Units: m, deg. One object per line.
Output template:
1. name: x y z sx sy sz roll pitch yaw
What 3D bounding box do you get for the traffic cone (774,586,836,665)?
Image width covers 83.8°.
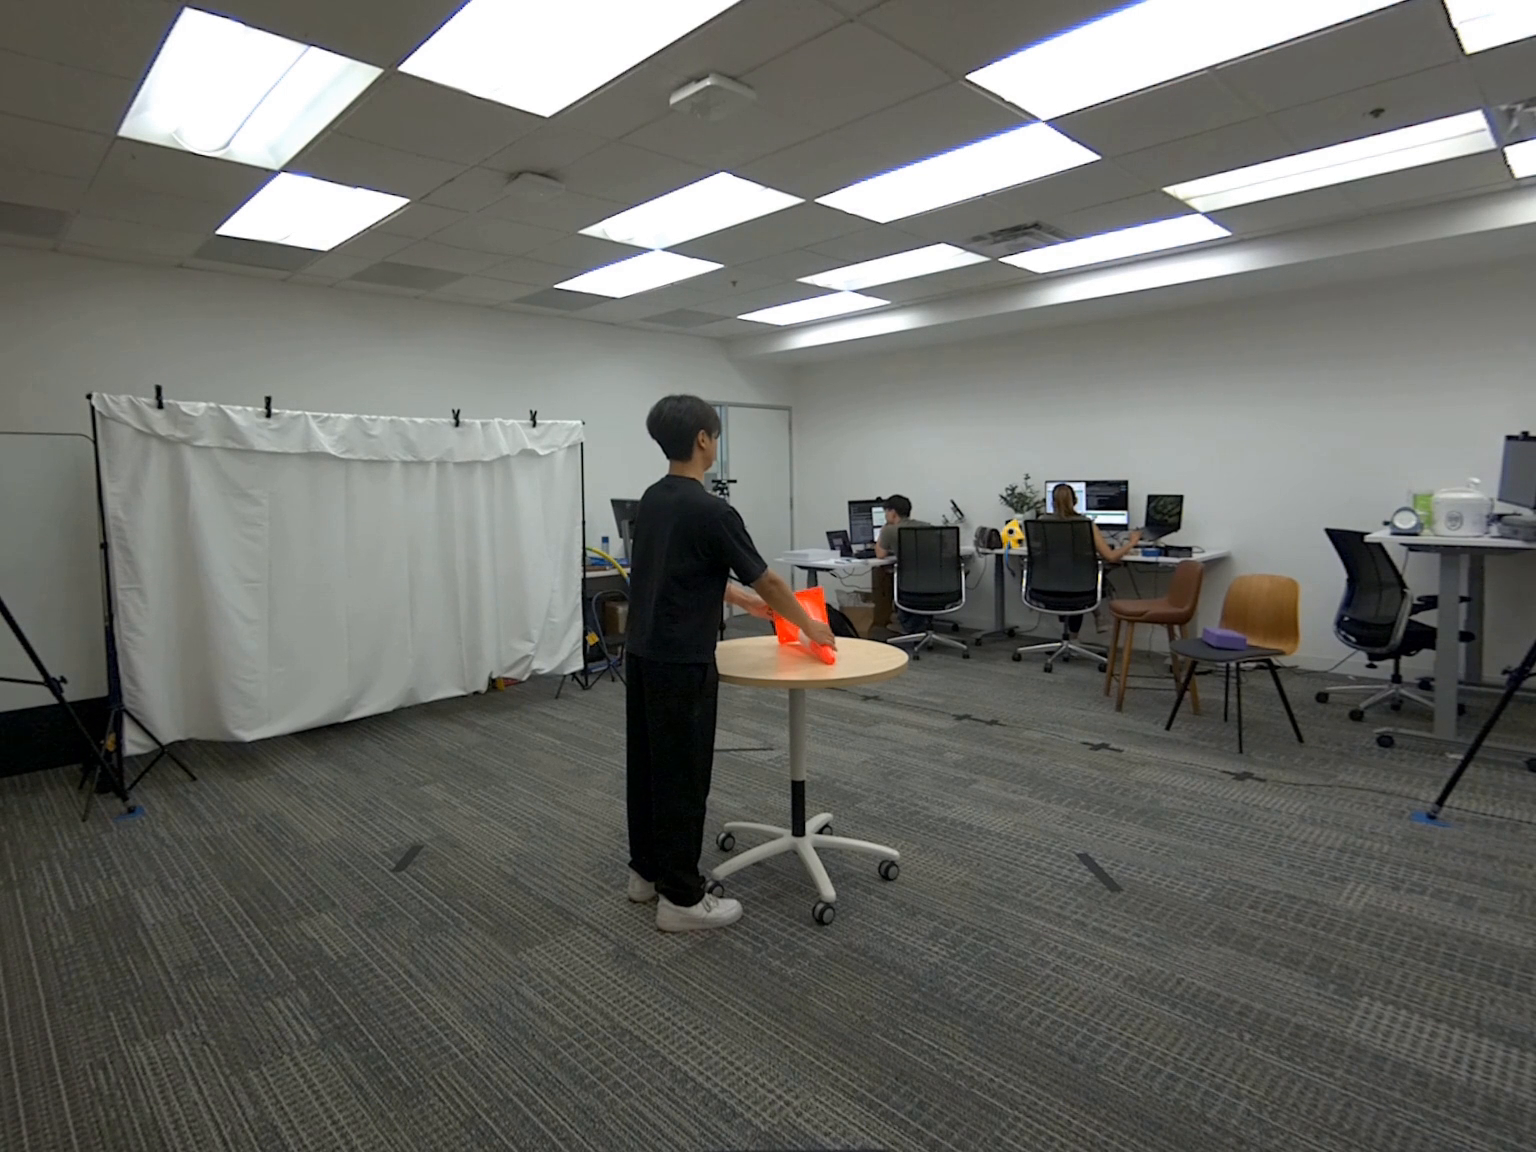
1. traffic cone: 0.174 0.218 2.984 0.204 0.199 0.394 -12 23 -8
